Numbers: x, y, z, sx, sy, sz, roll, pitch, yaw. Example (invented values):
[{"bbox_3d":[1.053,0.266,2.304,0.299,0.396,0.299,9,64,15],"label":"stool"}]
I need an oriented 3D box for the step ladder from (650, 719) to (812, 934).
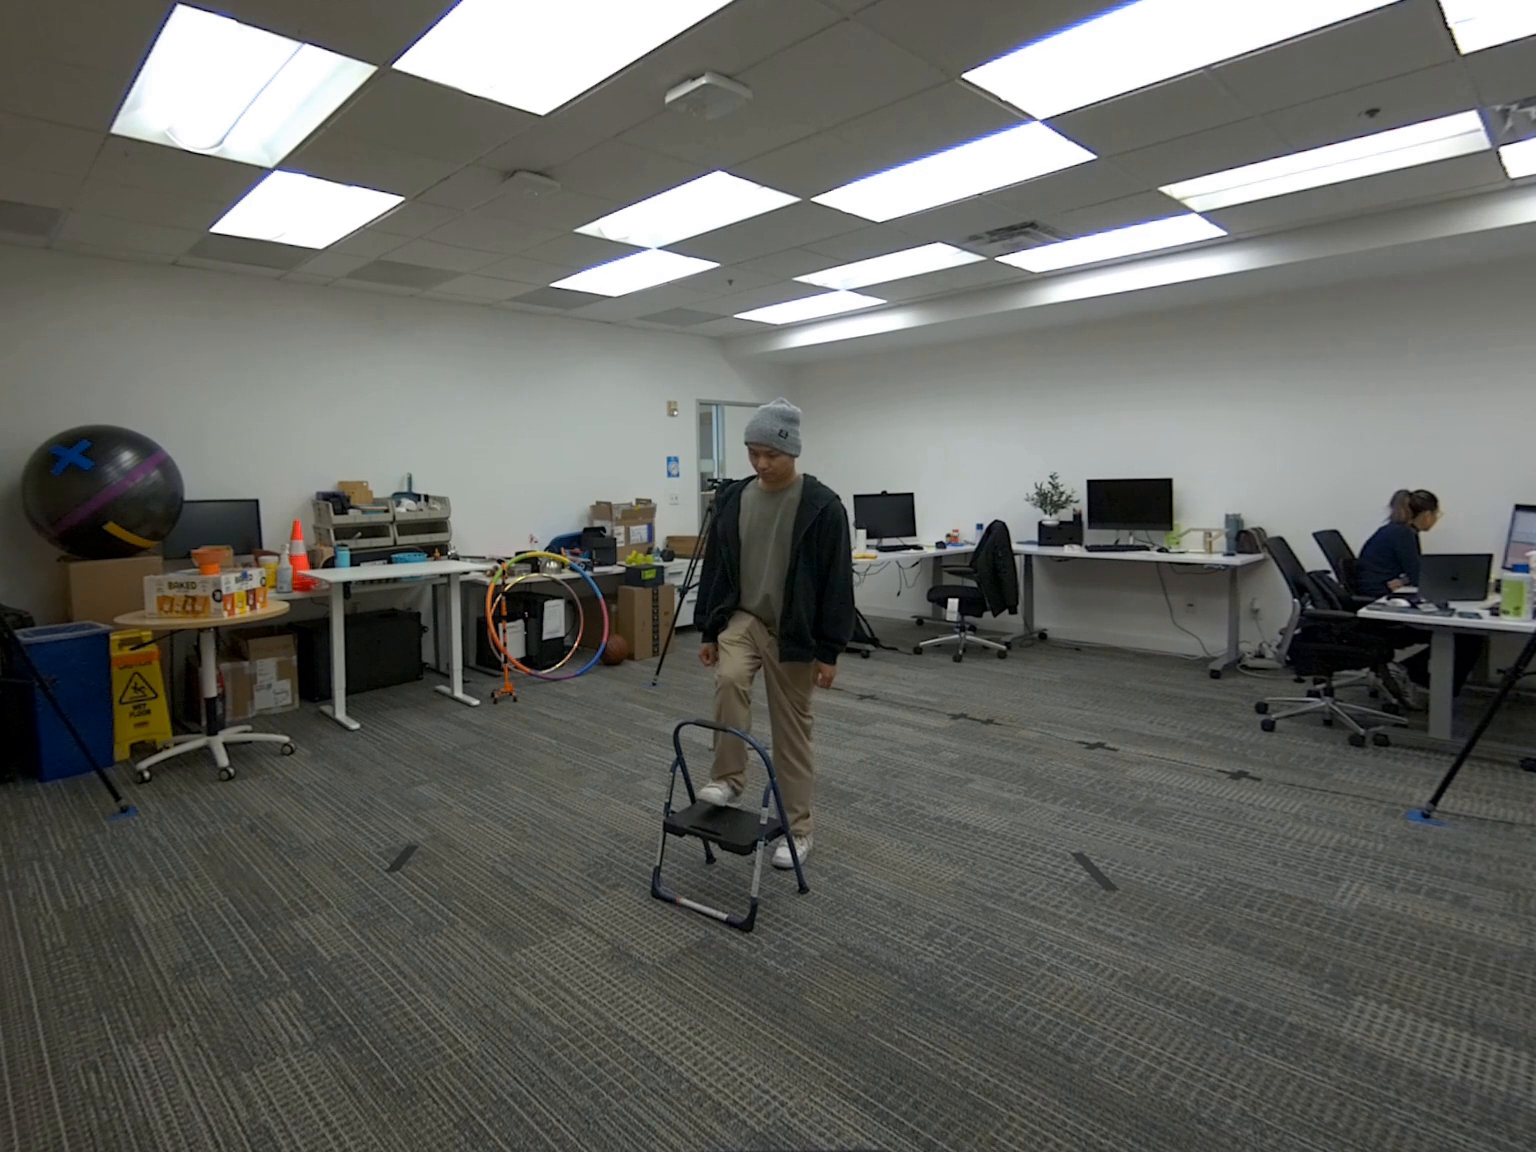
[{"bbox_3d":[-0.136,0.772,2.865,0.443,0.604,0.341,2,5,35],"label":"step ladder"}]
